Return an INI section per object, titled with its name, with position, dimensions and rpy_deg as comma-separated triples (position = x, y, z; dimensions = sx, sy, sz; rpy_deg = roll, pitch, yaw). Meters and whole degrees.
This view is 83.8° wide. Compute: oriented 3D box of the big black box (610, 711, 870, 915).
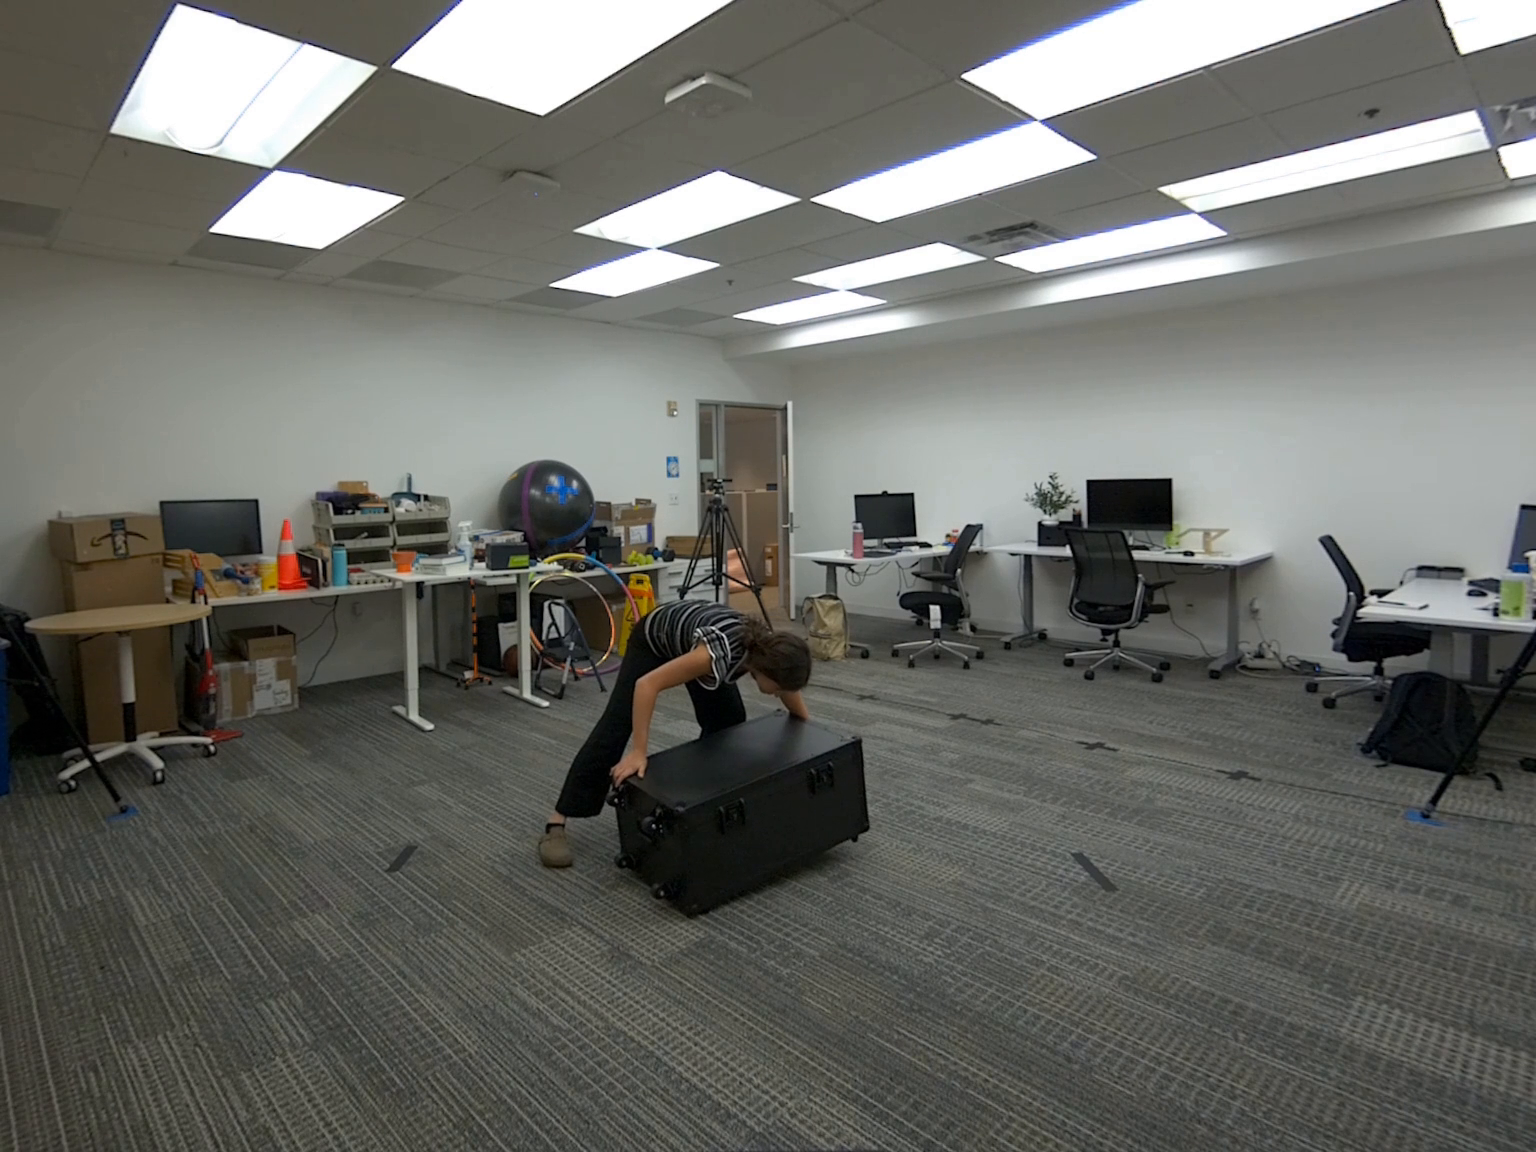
[big black box]
position = -0.119, 0.828, 3.075
dimensions = 0.843, 0.393, 0.537
rpy_deg = -12, 11, -34
